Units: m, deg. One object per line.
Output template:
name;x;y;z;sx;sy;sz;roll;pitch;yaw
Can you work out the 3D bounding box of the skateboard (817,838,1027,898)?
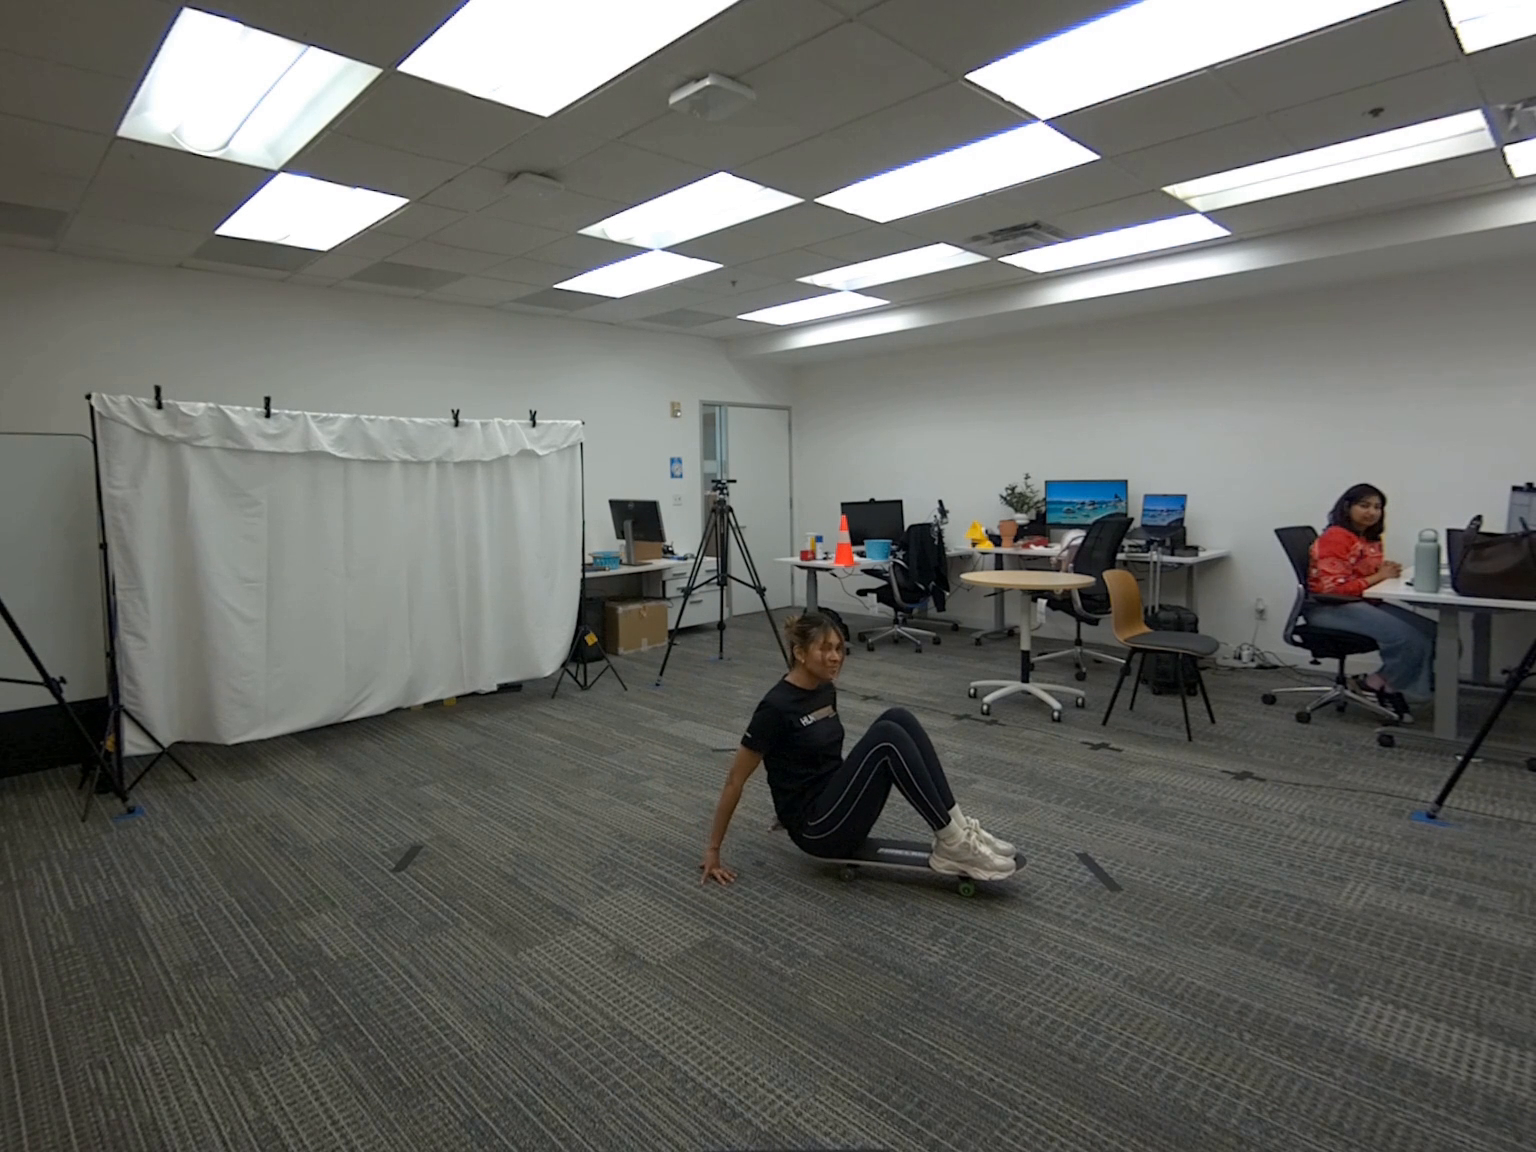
skateboard;0.477;0.998;2.970;0.799;0.109;0.192;0;10;18
